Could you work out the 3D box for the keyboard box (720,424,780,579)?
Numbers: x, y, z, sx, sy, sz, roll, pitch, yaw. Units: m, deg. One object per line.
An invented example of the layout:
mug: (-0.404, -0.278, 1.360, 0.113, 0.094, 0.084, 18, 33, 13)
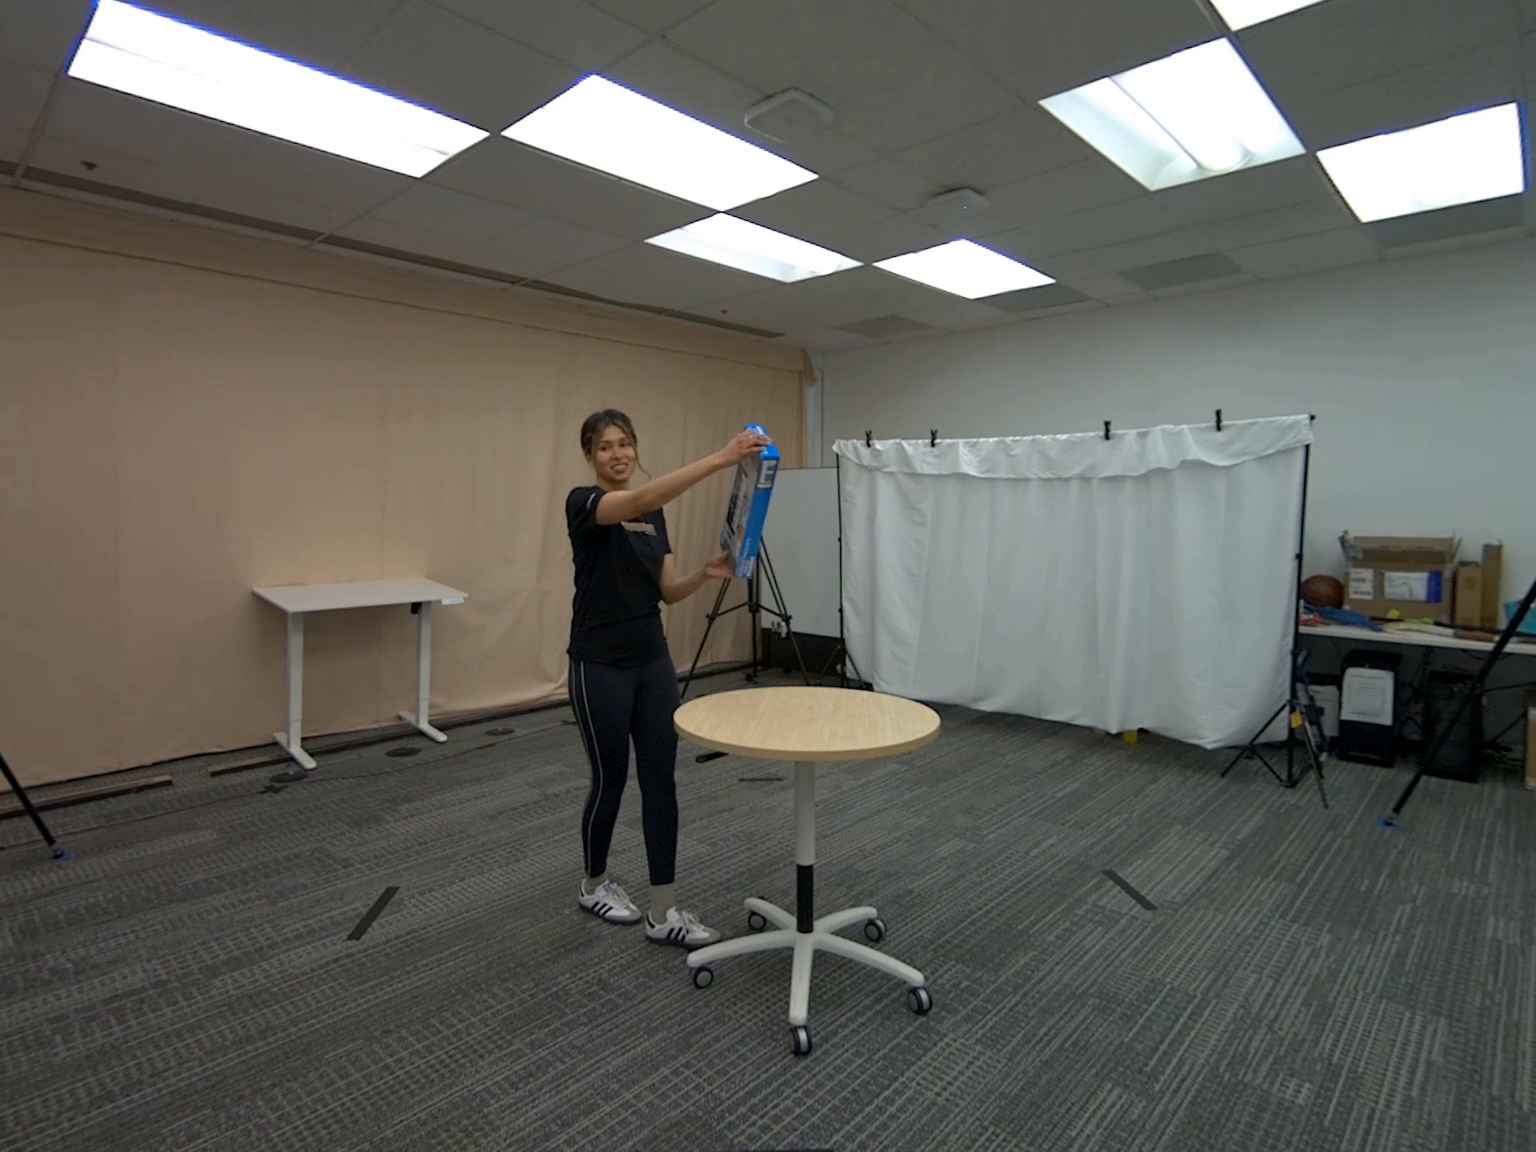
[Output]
keyboard box: (-0.053, -0.211, 2.502, 0.058, 0.432, 0.181, 1, 39, -18)
